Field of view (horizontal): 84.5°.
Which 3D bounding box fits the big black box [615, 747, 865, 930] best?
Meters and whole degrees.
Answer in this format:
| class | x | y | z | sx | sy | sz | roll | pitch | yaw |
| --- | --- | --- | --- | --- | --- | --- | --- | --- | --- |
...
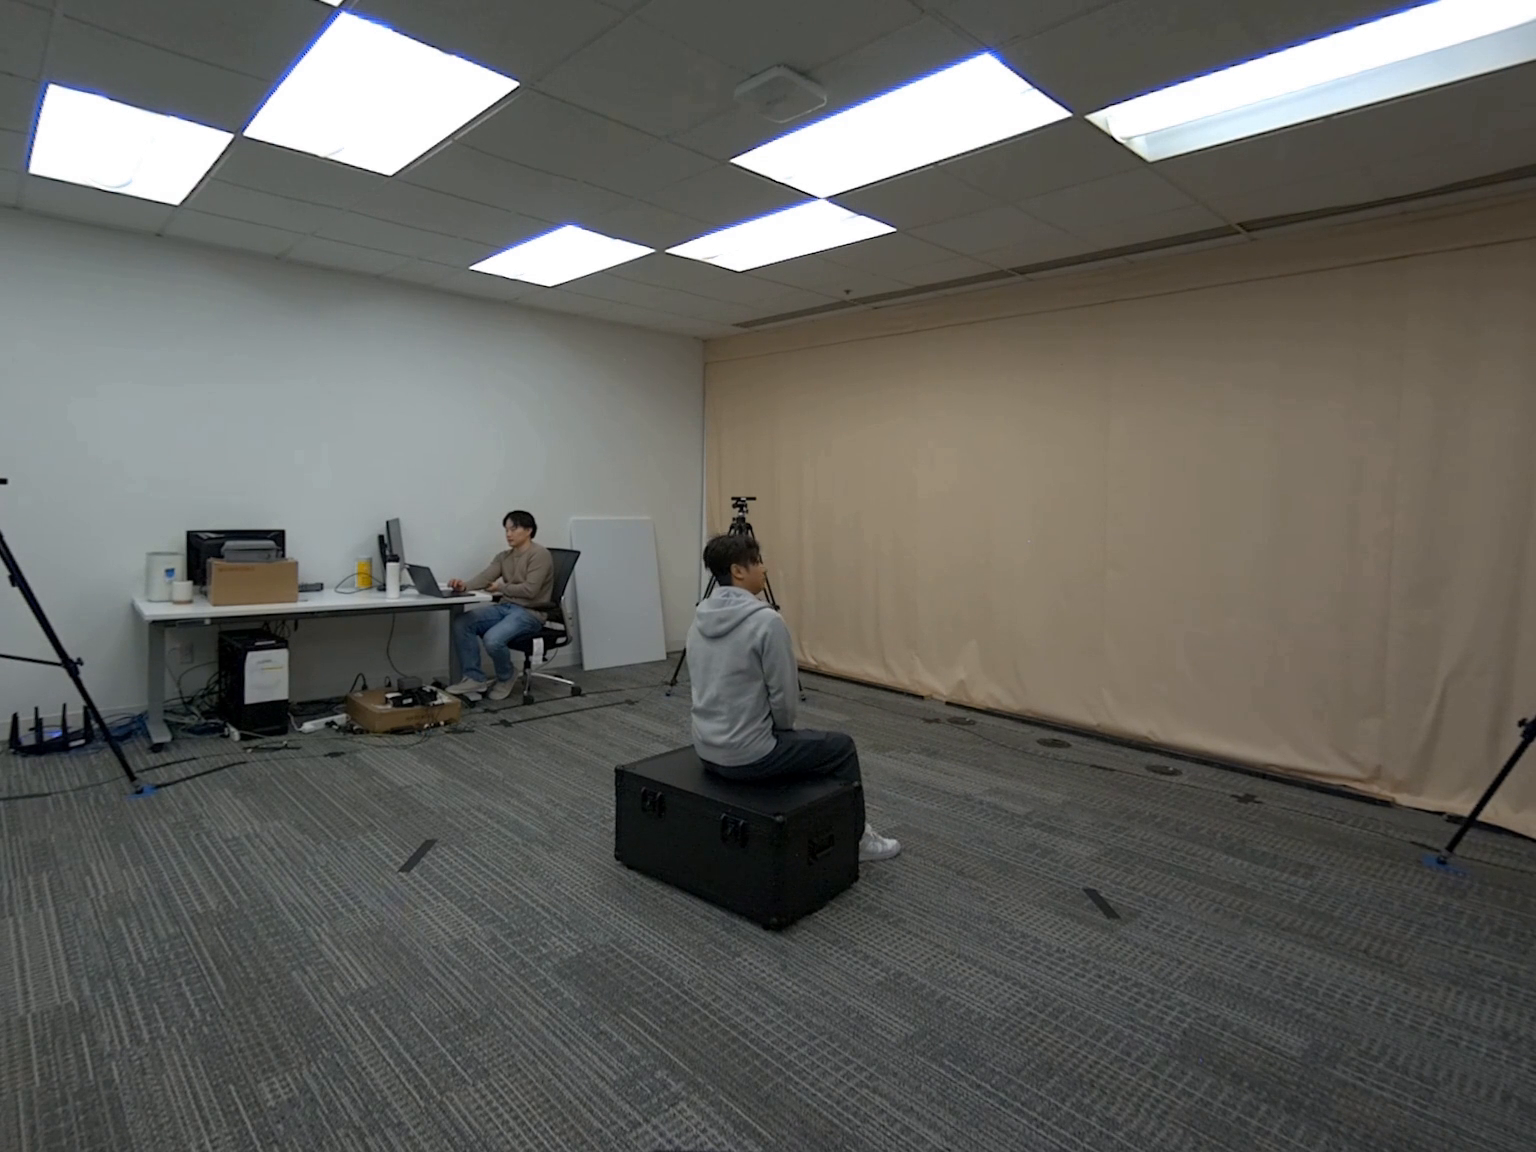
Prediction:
| class | x | y | z | sx | sy | sz | roll | pitch | yaw |
| --- | --- | --- | --- | --- | --- | --- | --- | --- | --- |
| big black box | -0.110 | 0.928 | 3.070 | 0.883 | 0.395 | 0.510 | 5 | 6 | 40 |
